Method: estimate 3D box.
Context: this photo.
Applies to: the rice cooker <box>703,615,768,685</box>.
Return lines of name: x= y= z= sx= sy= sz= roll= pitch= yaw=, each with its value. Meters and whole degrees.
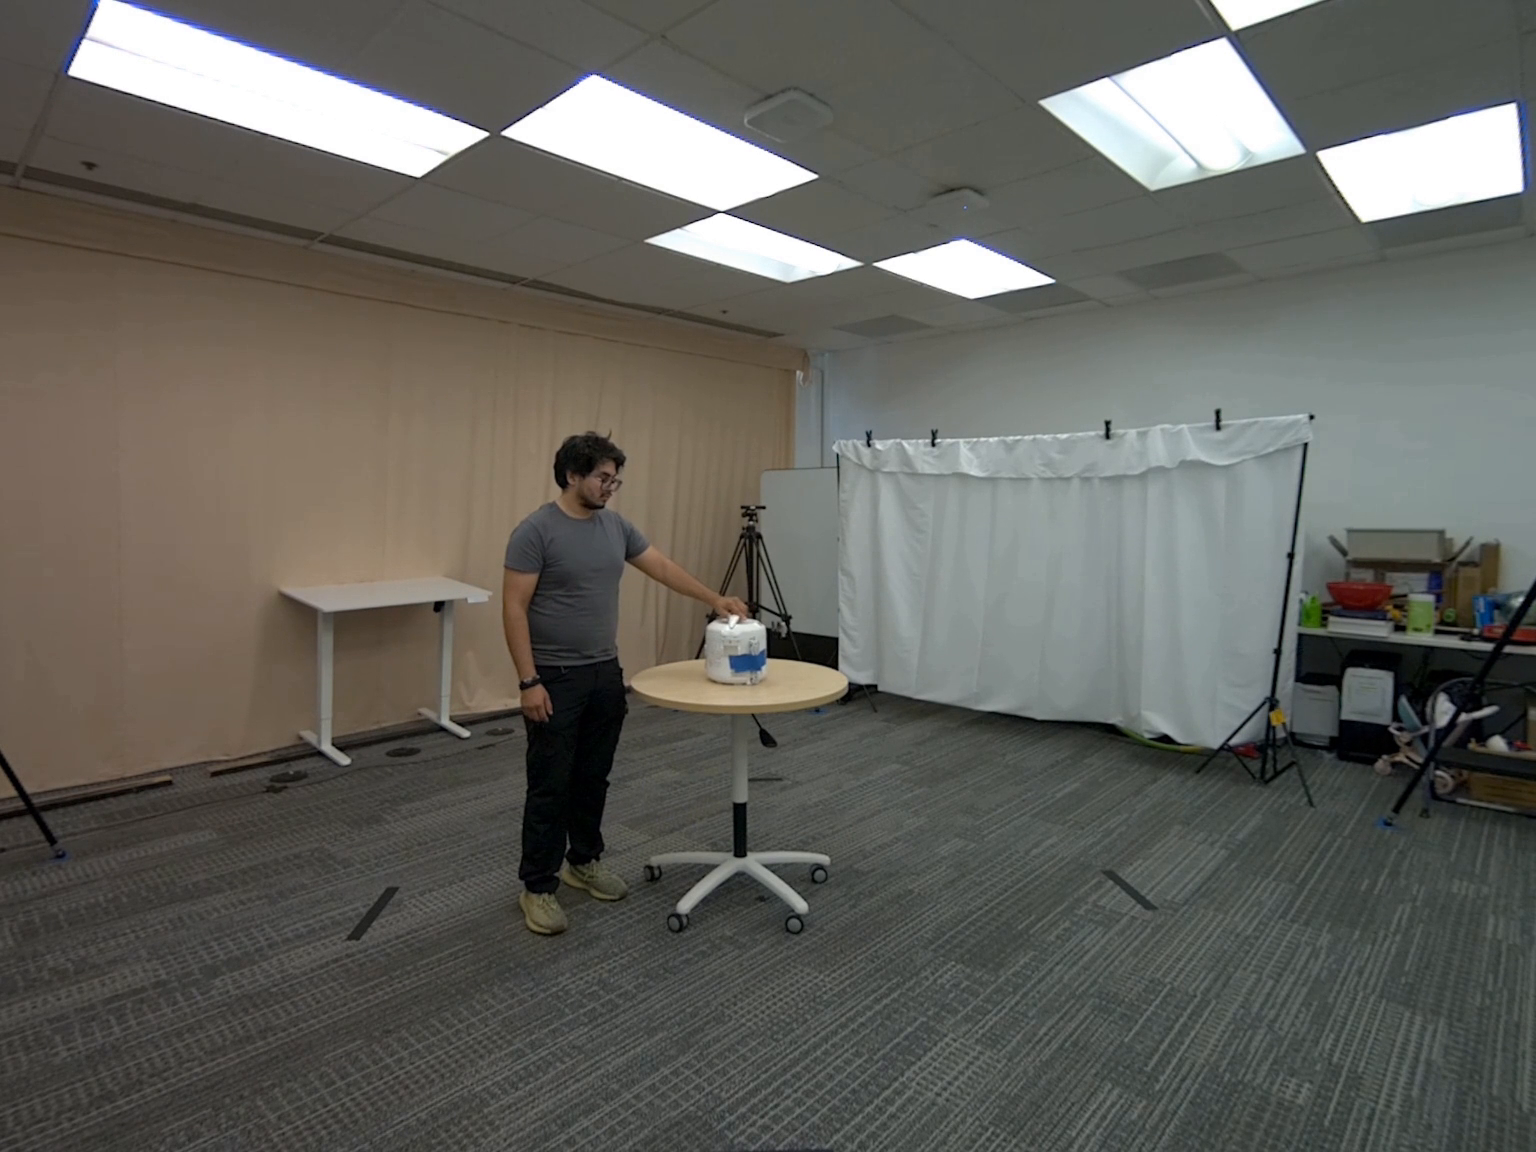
rice cooker: x=-0.110 y=0.250 z=2.945 sx=0.220 sy=0.232 sz=0.218 roll=1 pitch=4 yaw=10
